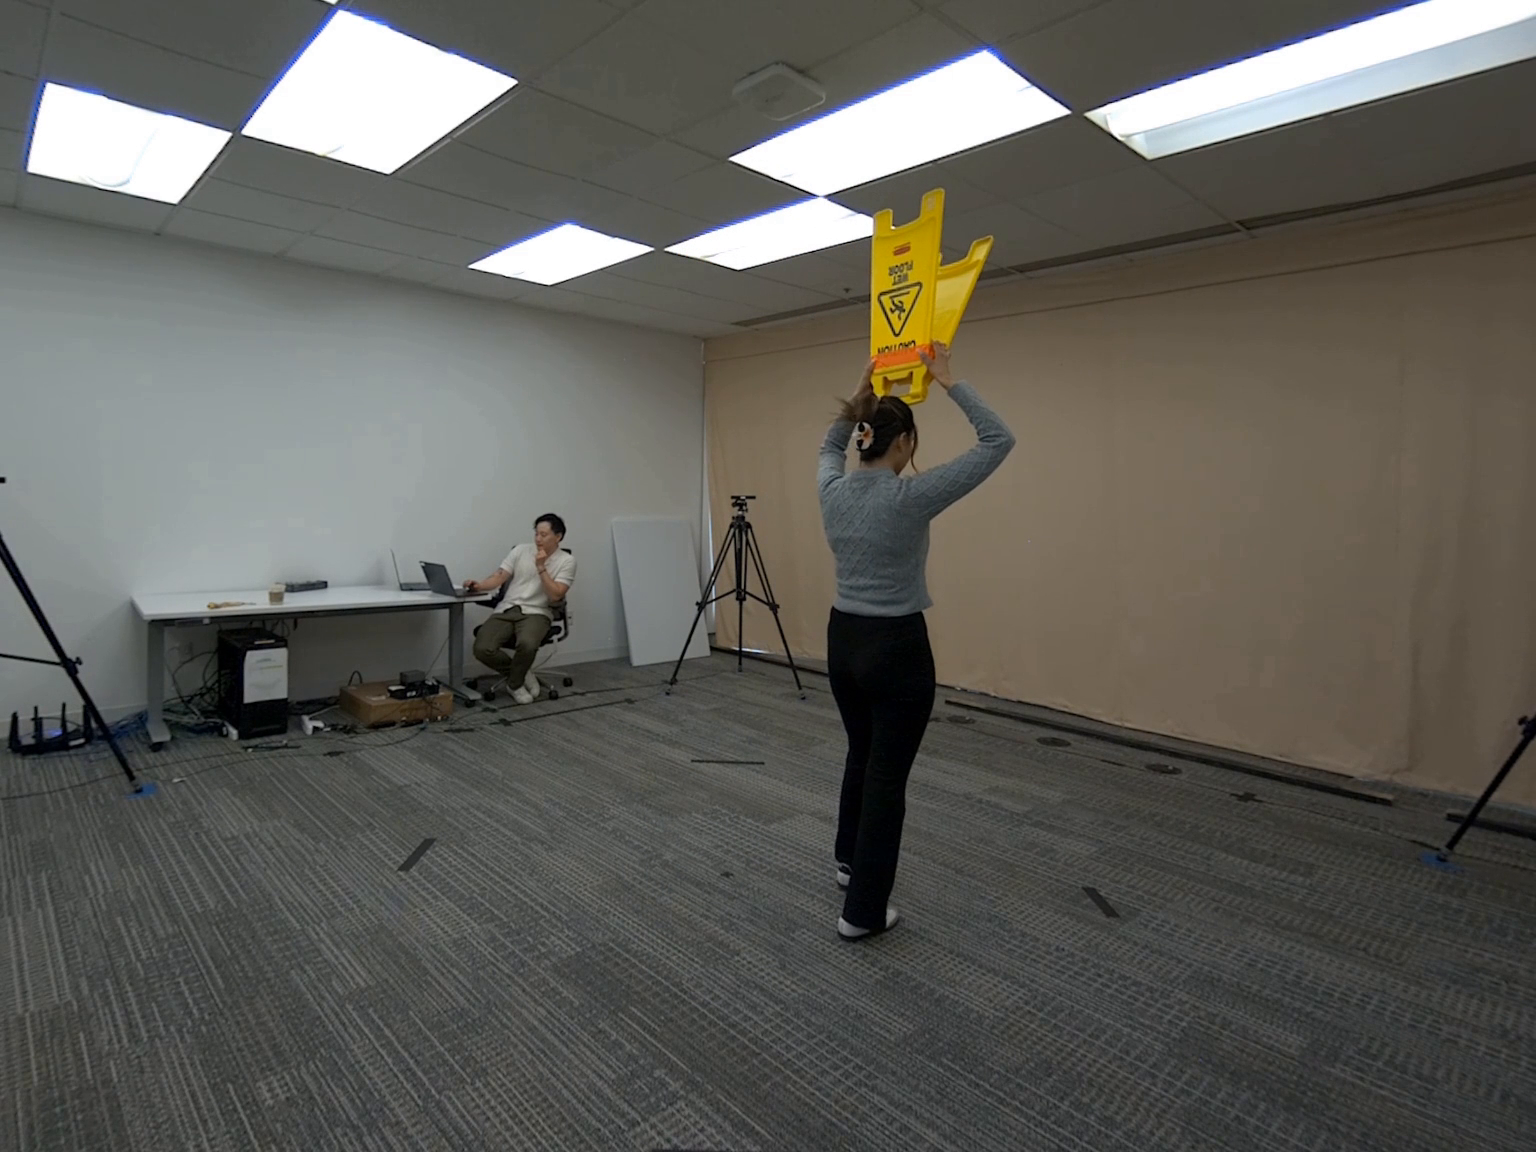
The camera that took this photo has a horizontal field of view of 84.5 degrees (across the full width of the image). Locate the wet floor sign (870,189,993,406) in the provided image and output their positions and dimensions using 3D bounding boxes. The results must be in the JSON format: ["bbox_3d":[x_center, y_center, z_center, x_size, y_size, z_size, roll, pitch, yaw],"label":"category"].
[{"bbox_3d":[0.466,-0.841,2.711,0.281,0.650,0.289,22,-15,-39],"label":"wet floor sign"}]
